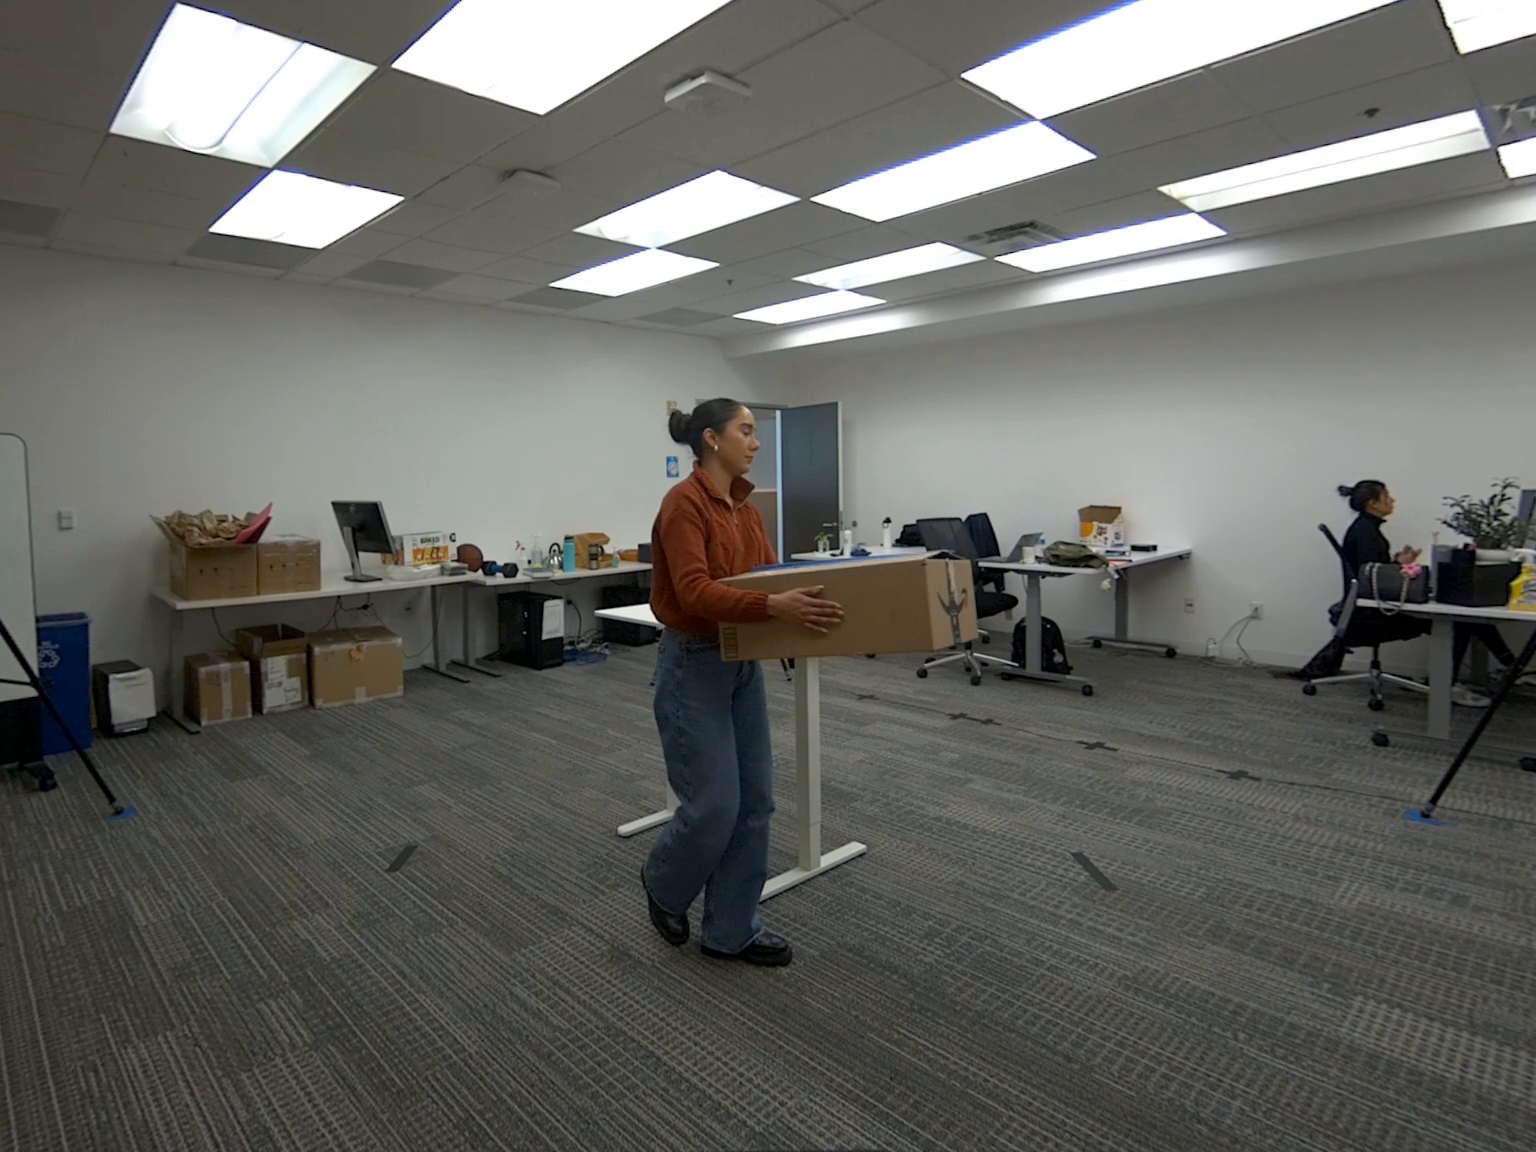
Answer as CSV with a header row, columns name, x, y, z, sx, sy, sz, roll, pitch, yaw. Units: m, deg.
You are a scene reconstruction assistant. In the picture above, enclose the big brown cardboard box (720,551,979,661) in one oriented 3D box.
name,x,y,z,sx,sy,sz,roll,pitch,yaw
big brown cardboard box,0.212,0.090,2.278,0.602,0.234,0.407,-5,-2,28
